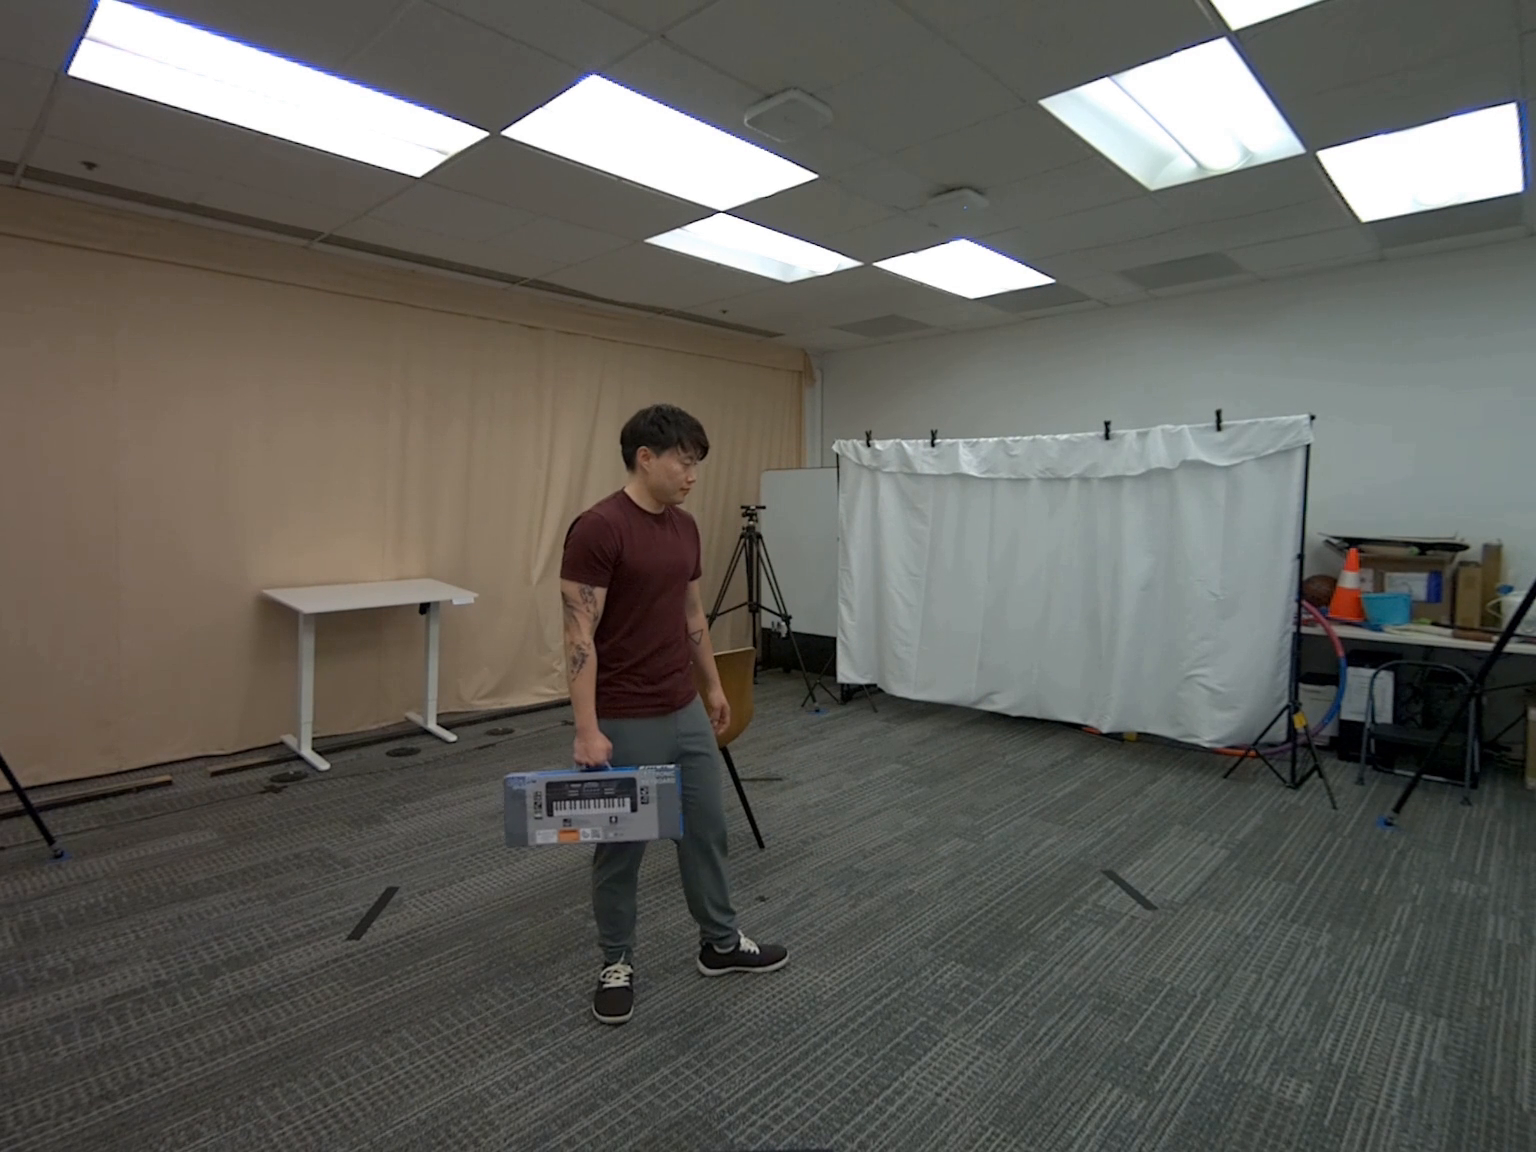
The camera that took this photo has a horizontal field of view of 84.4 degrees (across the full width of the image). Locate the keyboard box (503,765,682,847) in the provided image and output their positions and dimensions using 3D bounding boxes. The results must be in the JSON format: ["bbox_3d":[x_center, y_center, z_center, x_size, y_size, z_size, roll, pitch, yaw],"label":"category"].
[{"bbox_3d":[-0.439,0.571,2.112,0.438,0.176,0.059,-3,-4,2],"label":"keyboard box"}]
